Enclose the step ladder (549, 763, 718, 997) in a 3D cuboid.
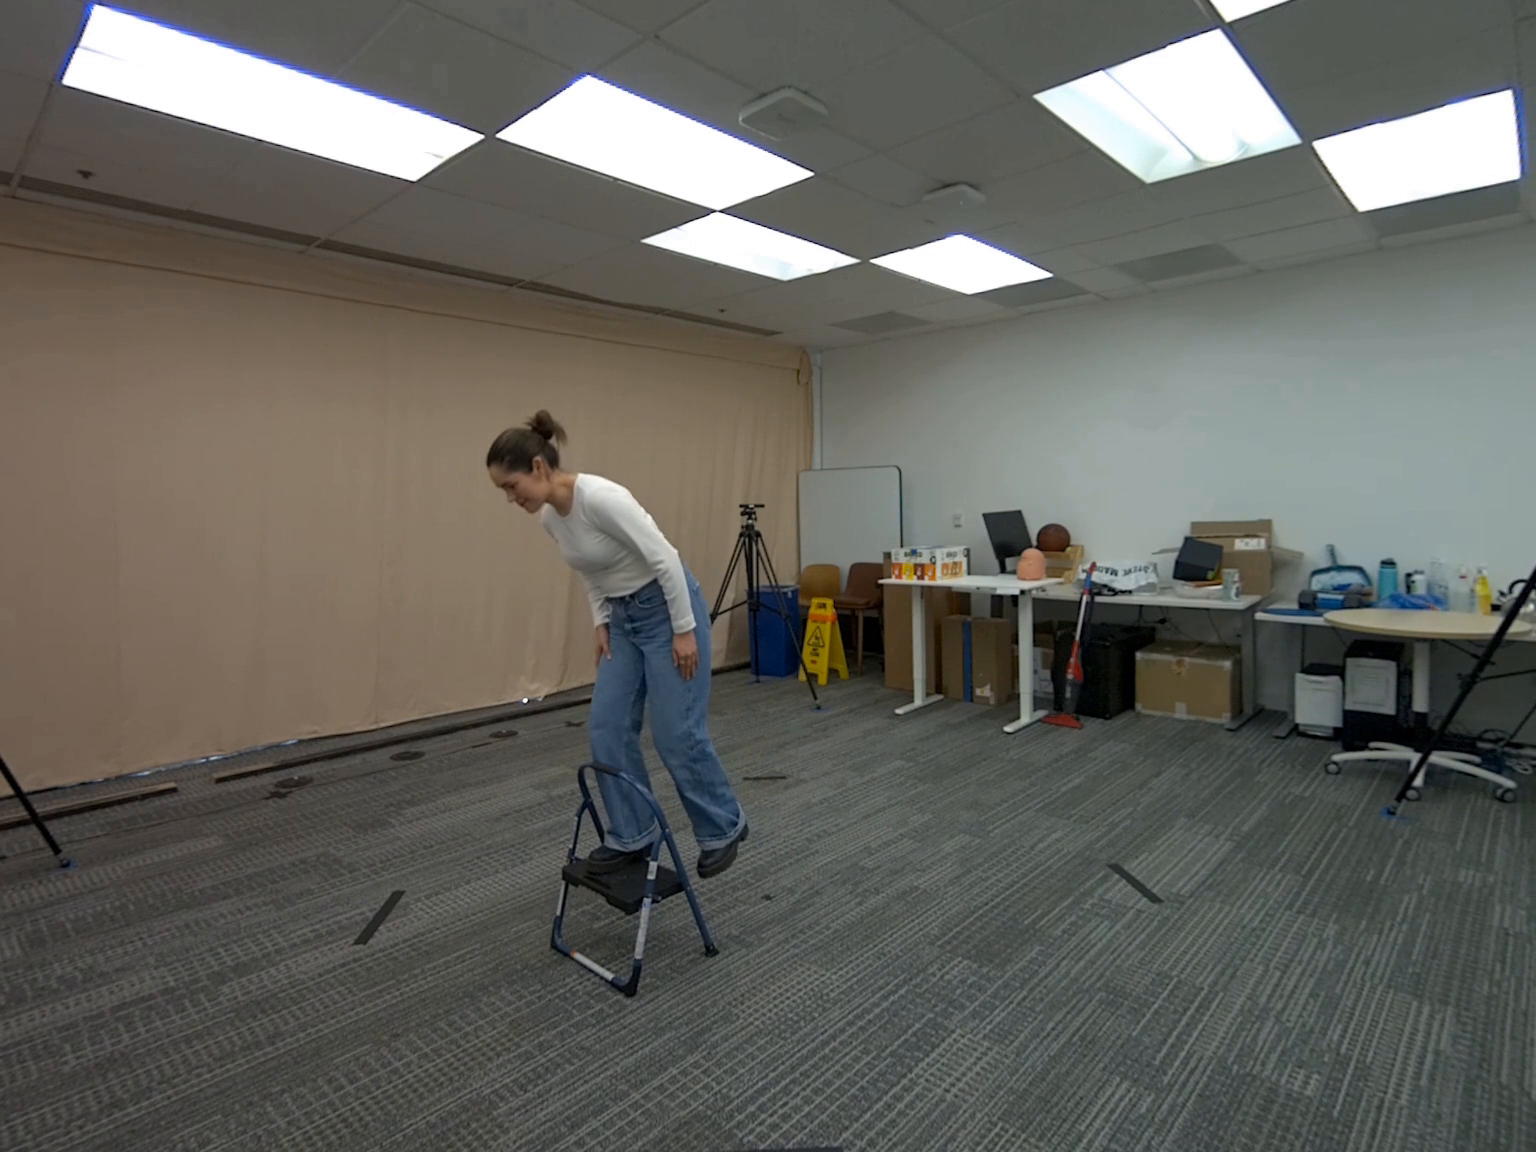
[{"bbox_3d":[-0.430,0.878,2.634,0.445,0.605,0.339,2,4,43],"label":"step ladder"}]
